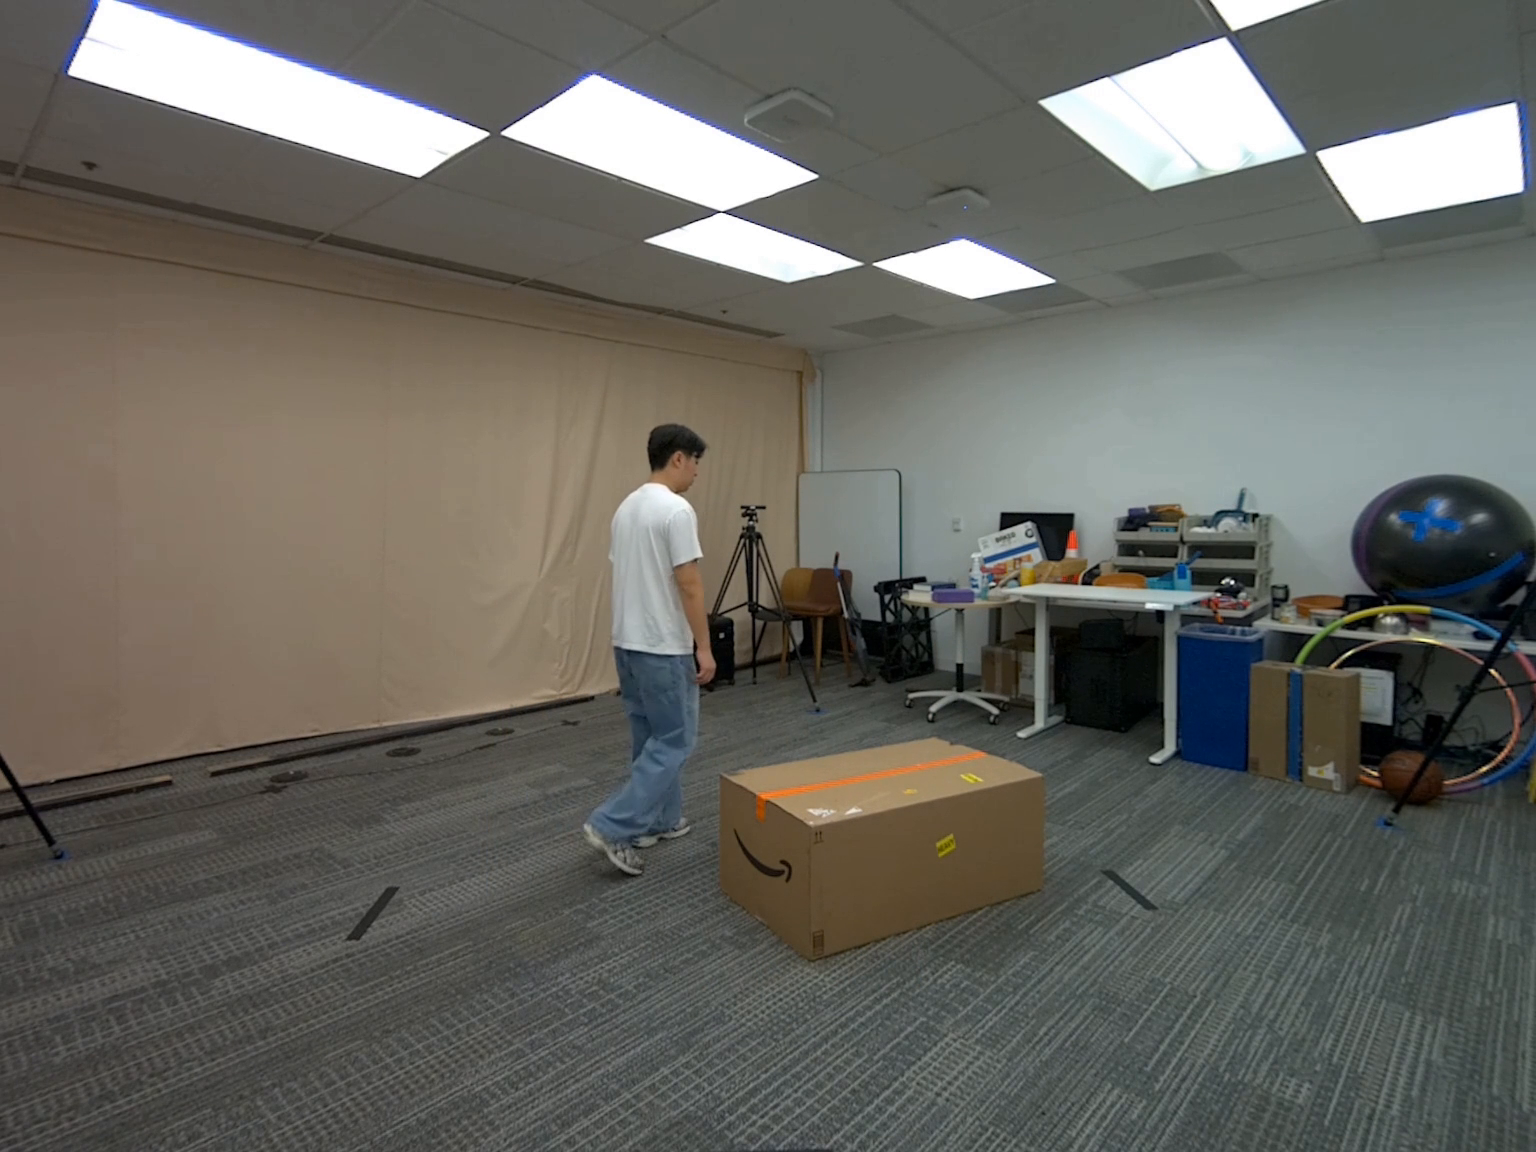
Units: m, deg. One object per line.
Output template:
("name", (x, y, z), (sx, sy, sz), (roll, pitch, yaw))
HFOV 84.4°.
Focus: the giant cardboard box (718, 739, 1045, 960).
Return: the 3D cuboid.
("giant cardboard box", (0.412, 0.923, 3.042), (0.999, 0.425, 0.594), (-3, 5, -30))
